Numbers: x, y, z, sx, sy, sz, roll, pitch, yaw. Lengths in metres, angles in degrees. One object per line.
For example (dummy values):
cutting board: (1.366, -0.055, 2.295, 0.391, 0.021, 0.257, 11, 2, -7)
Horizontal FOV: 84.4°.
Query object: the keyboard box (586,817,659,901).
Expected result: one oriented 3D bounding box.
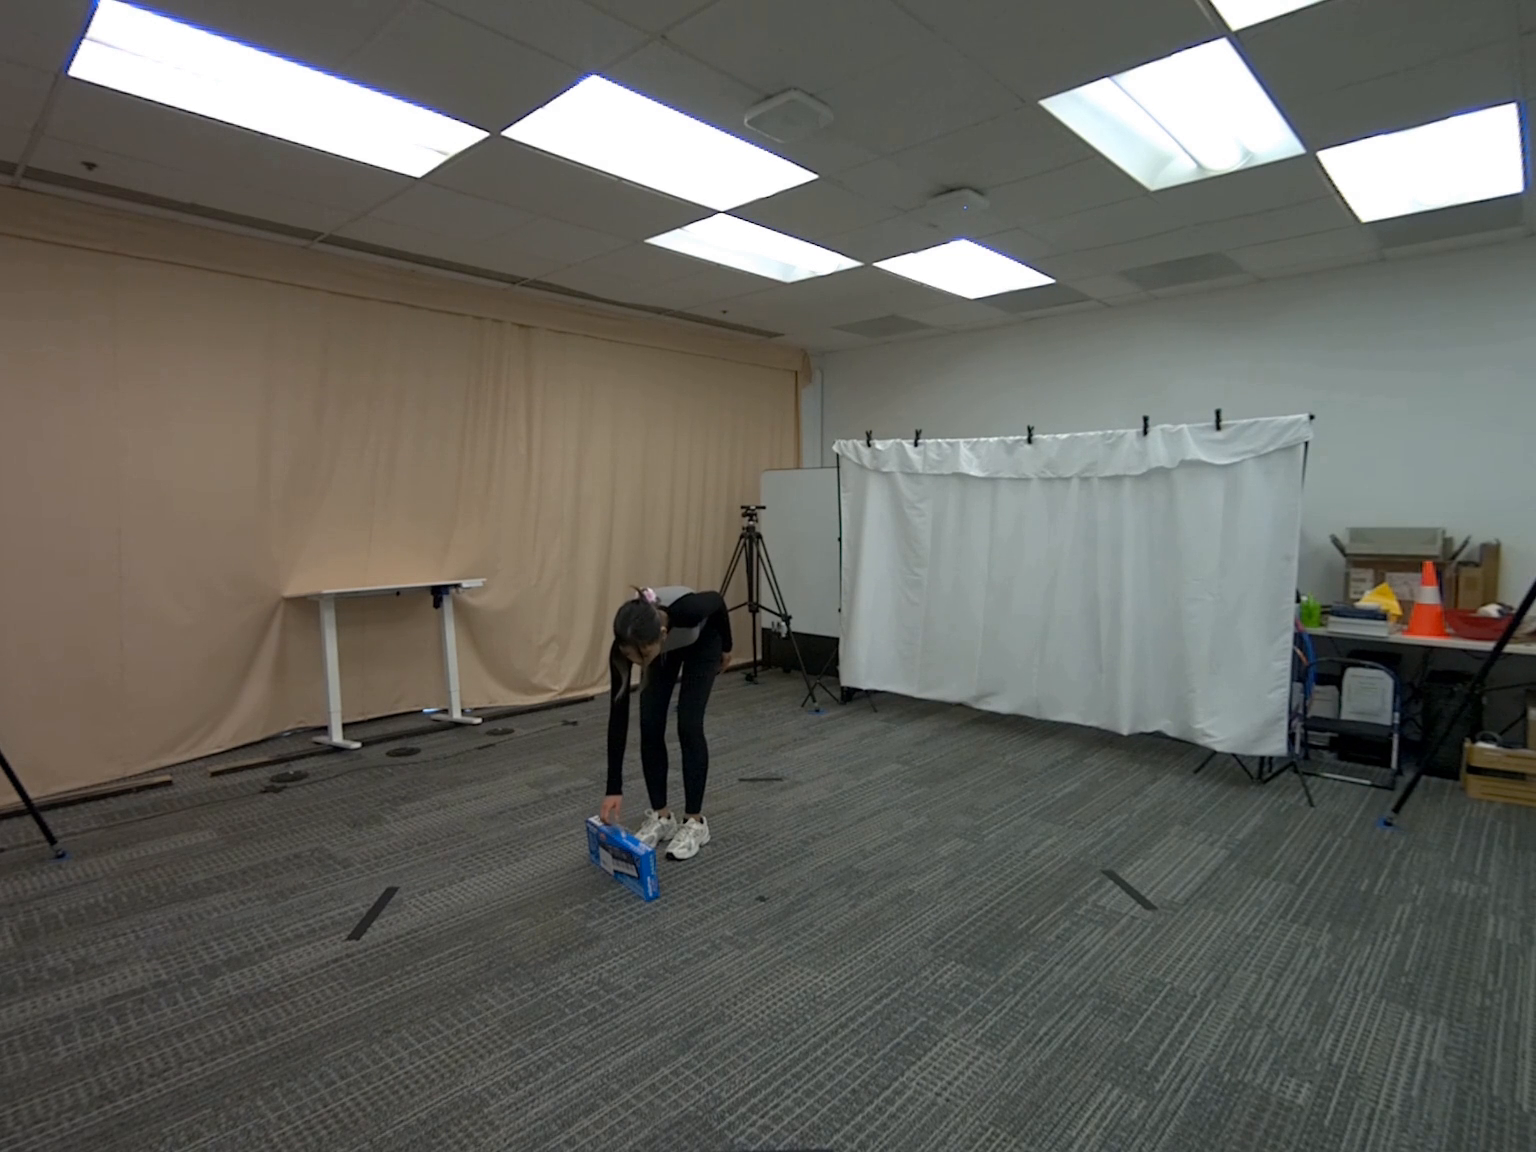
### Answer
keyboard box: (-0.549, 1.046, 3.150, 0.057, 0.175, 0.451, -9, 8, -37)
